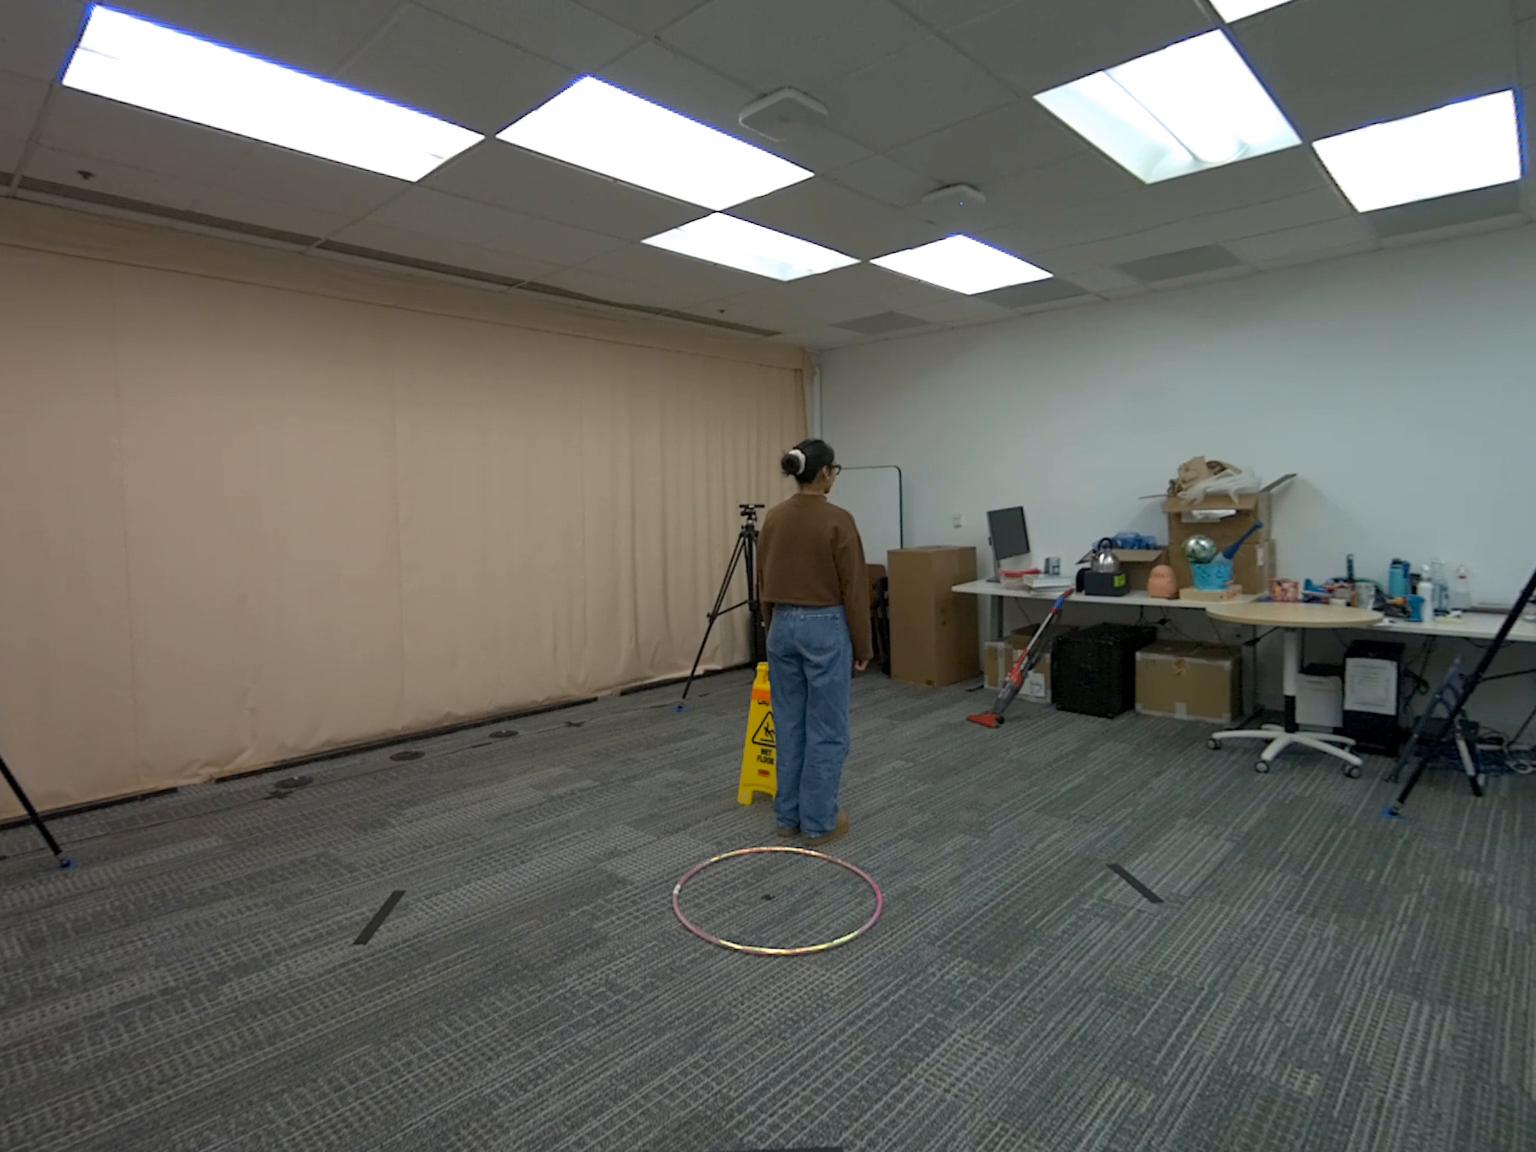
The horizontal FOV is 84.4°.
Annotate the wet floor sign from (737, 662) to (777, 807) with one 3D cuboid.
[{"bbox_3d":[0.041,0.734,3.963,0.291,0.645,0.281,2,4,36],"label":"wet floor sign"}]
